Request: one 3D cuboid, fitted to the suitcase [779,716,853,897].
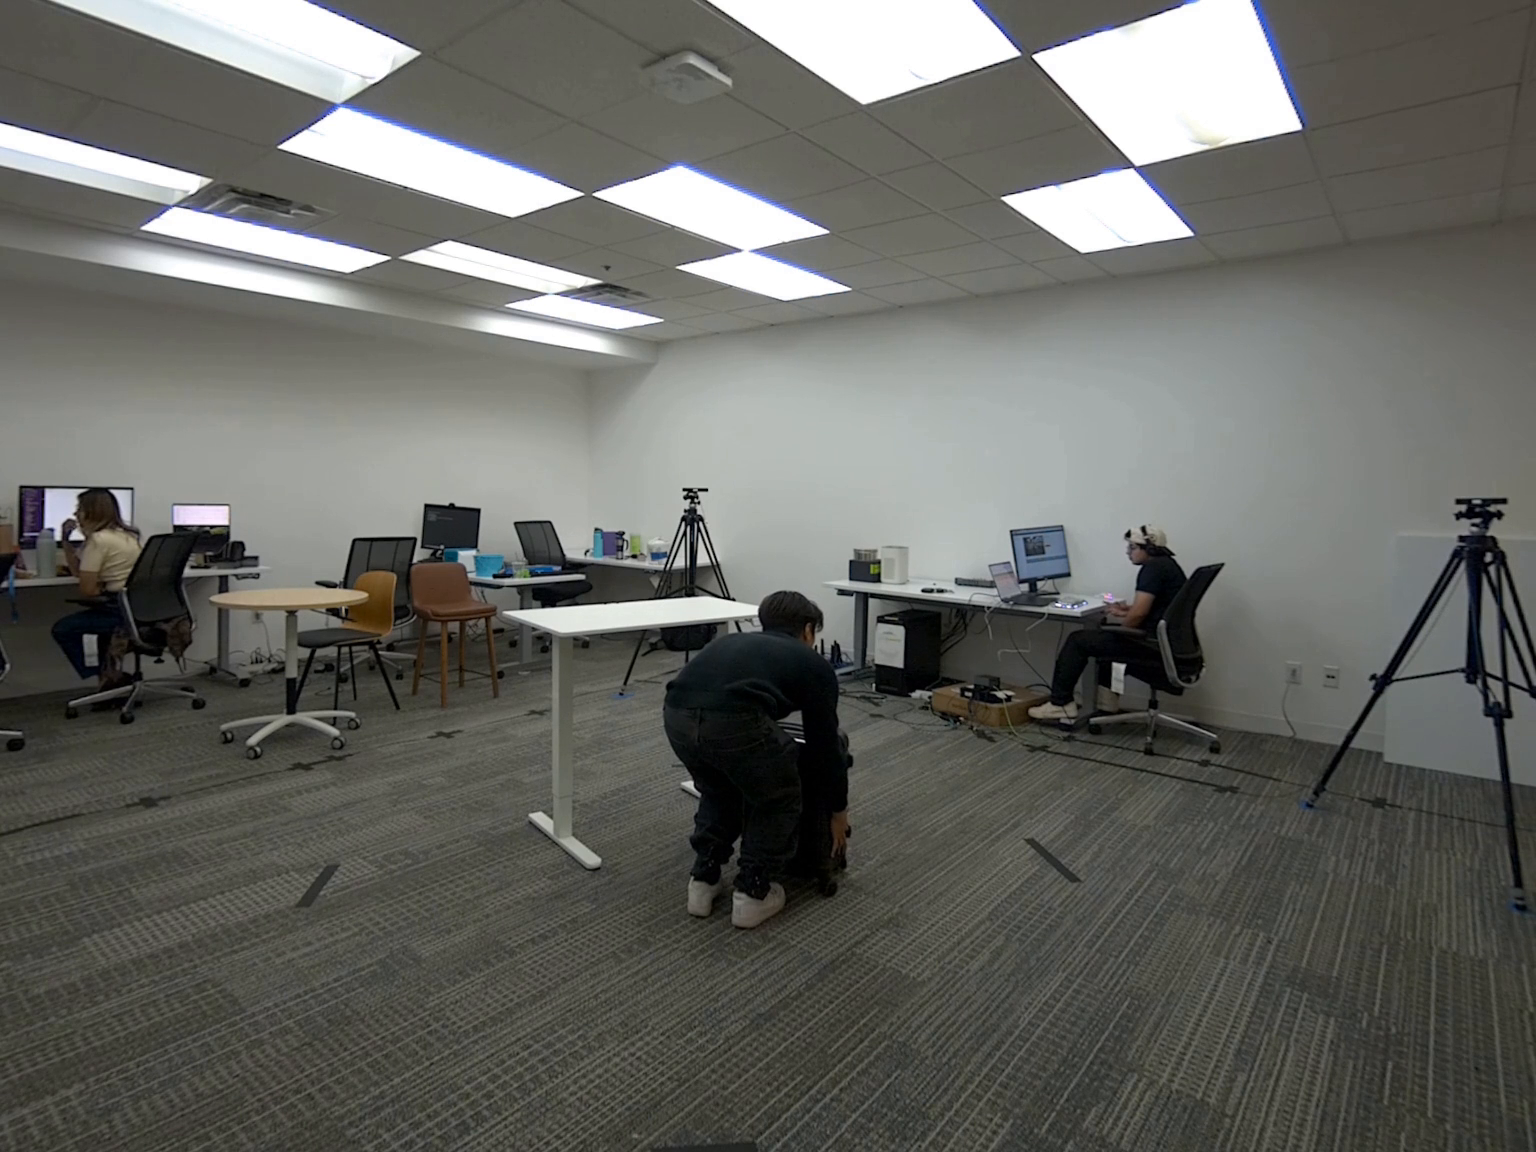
[{"bbox_3d":[0.093,0.799,3.064,0.384,0.548,0.243,3,3,22],"label":"suitcase"}]
